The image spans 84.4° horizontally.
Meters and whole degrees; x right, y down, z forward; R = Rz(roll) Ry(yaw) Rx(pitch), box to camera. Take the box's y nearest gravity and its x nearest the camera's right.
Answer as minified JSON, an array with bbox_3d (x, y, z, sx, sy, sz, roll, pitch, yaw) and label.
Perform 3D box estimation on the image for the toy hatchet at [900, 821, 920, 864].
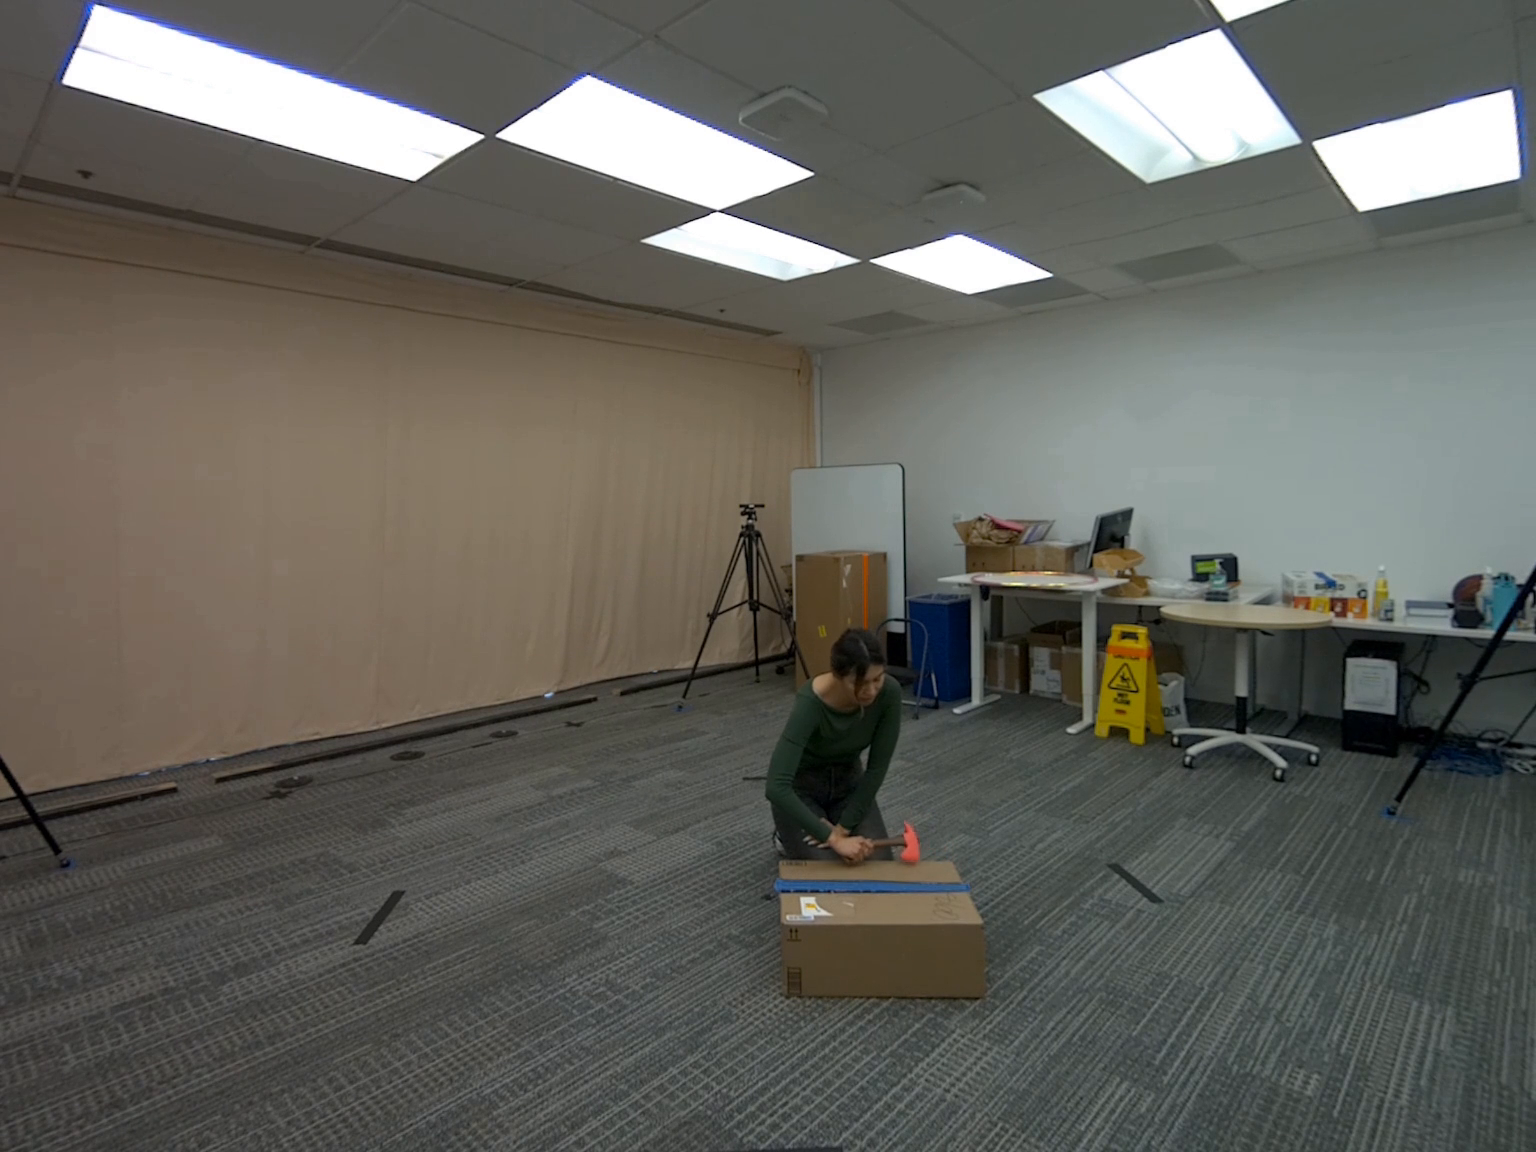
[{"bbox_3d":[0.394,0.899,2.710,0.265,0.029,0.135,-18,54,-22],"label":"toy hatchet"}]
